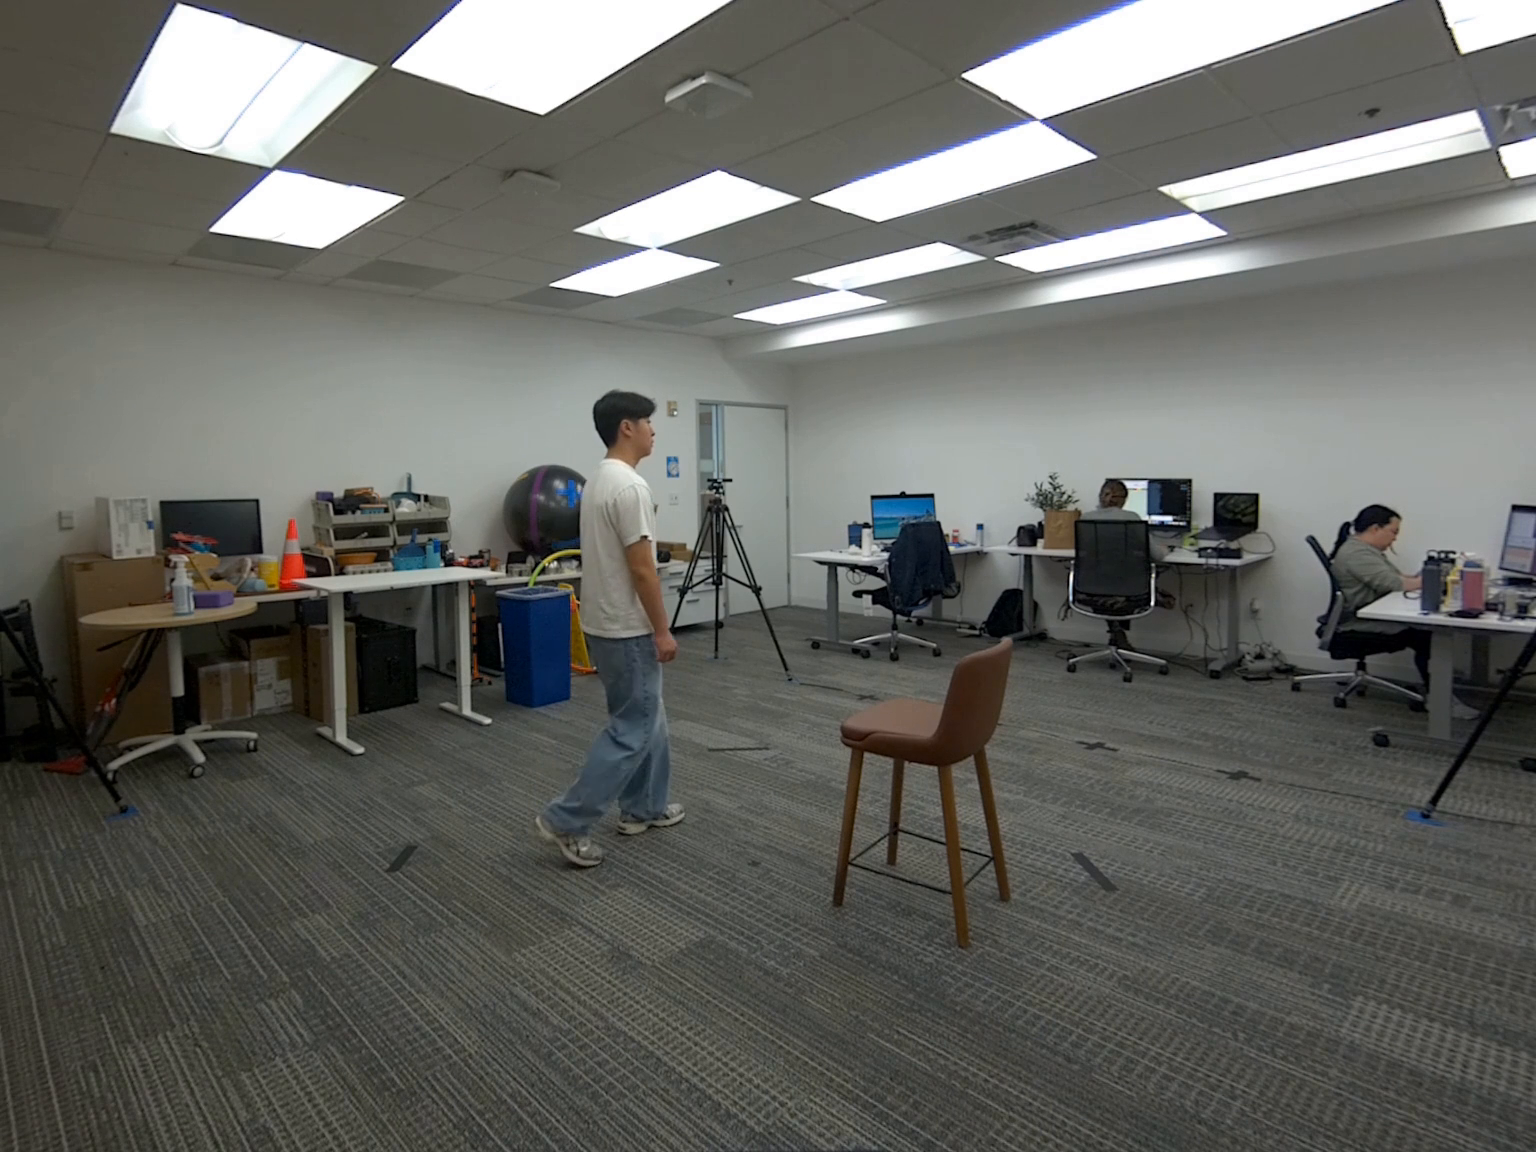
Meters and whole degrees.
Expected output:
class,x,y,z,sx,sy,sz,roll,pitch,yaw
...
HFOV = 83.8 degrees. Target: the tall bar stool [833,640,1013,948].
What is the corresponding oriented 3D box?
class,x,y,z,sx,sy,sz,roll,pitch,yaw
tall bar stool,0.513,0.640,2.771,0.482,0.885,0.445,5,7,37
